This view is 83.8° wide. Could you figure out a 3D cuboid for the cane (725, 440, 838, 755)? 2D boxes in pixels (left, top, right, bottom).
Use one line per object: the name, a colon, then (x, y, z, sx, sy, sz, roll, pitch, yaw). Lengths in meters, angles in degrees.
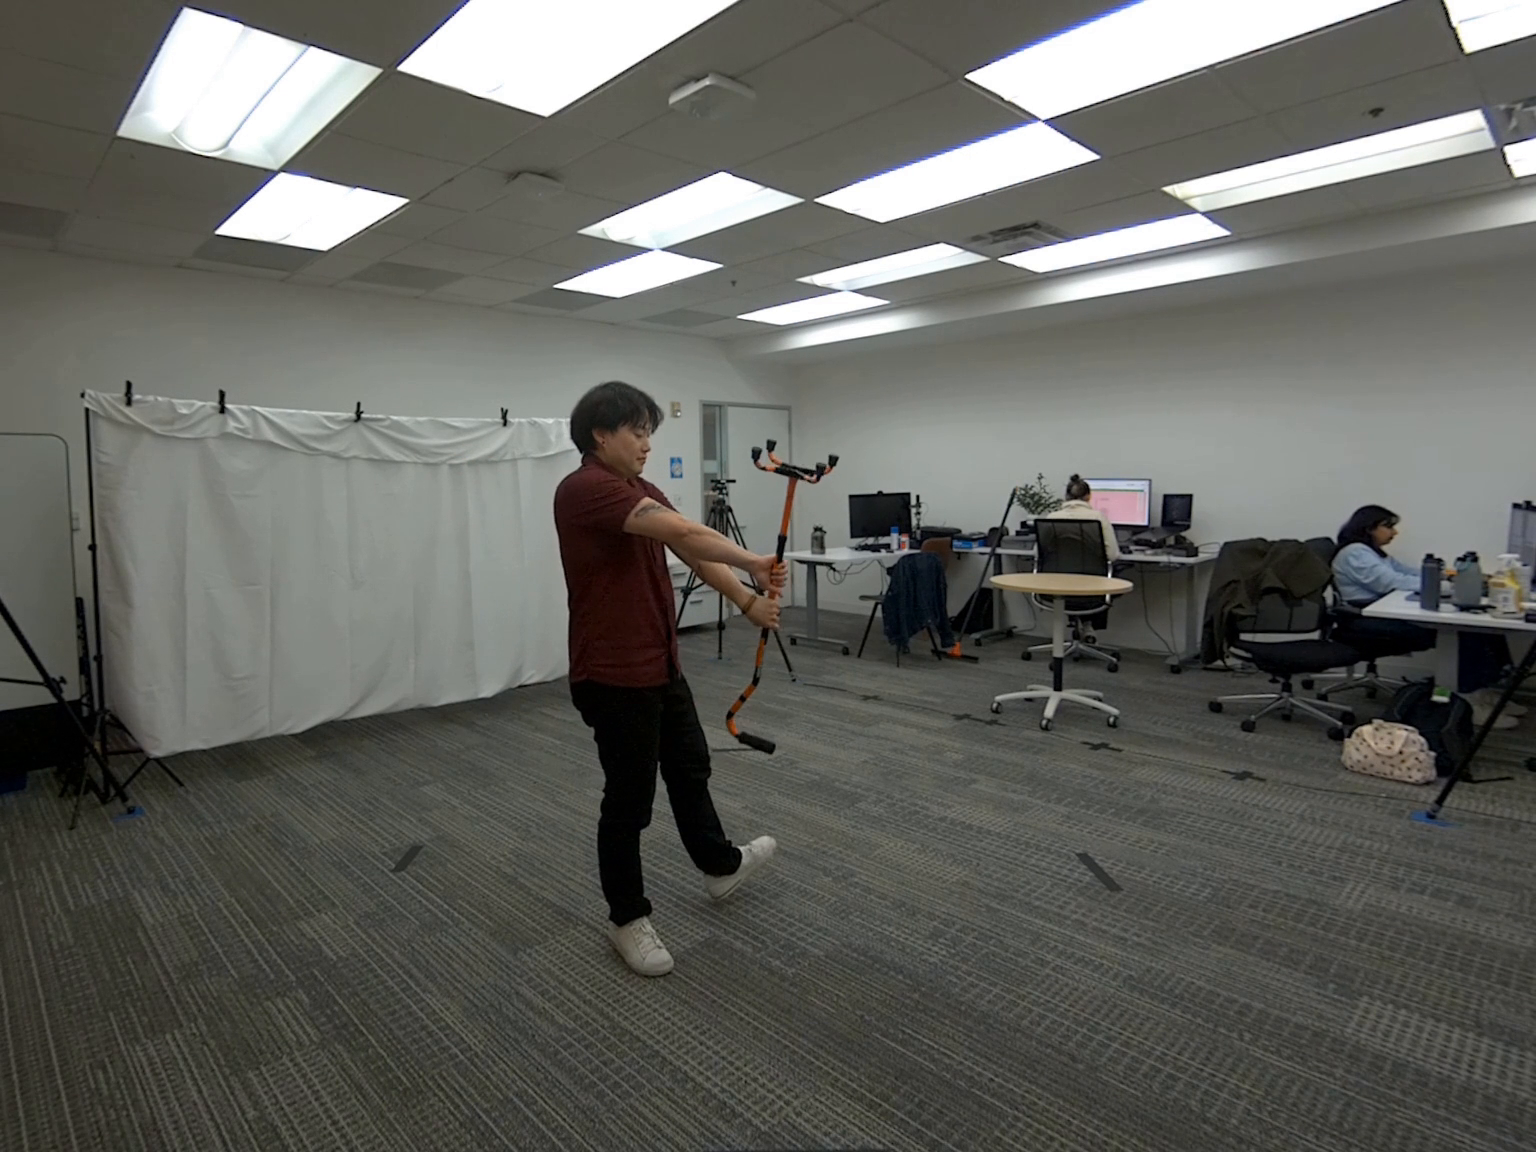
cane: (0.000, 0.090, 2.402, 0.211, 0.895, 0.150, 16, 20, 17)
